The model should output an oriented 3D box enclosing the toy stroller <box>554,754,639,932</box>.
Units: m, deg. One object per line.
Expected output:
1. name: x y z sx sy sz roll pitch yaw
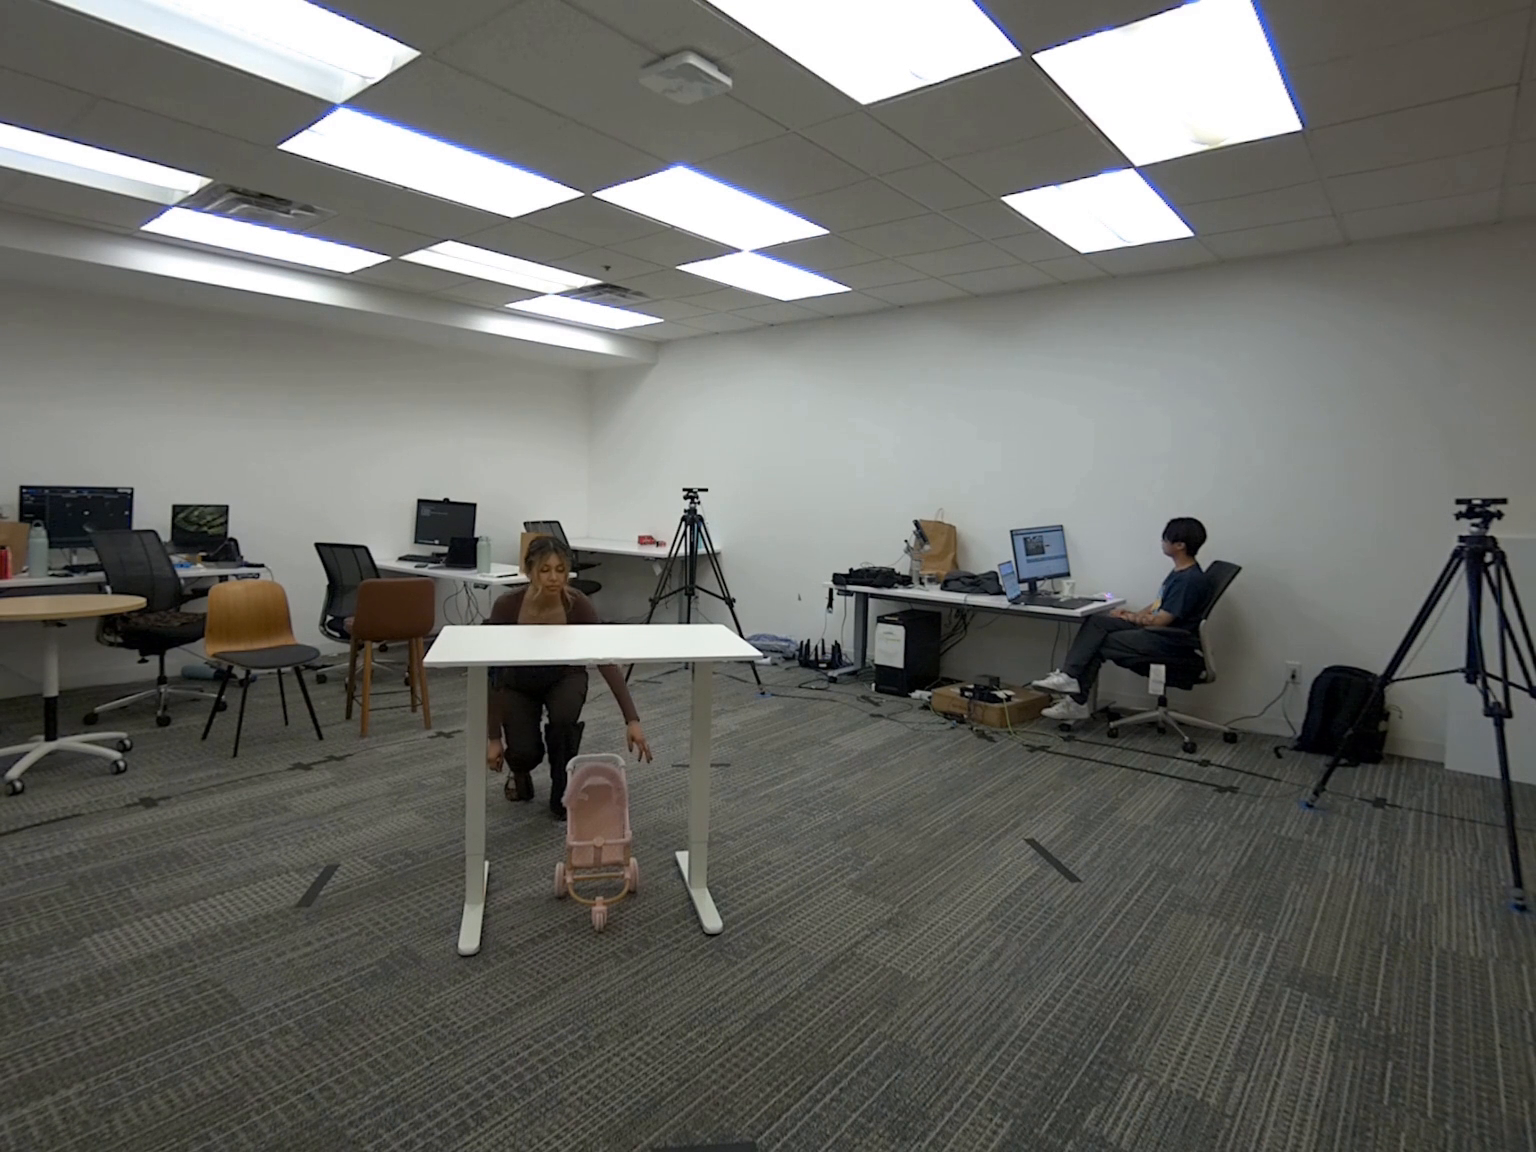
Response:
1. toy stroller: -0.582 0.863 2.834 0.279 0.541 0.340 0 -12 -10
